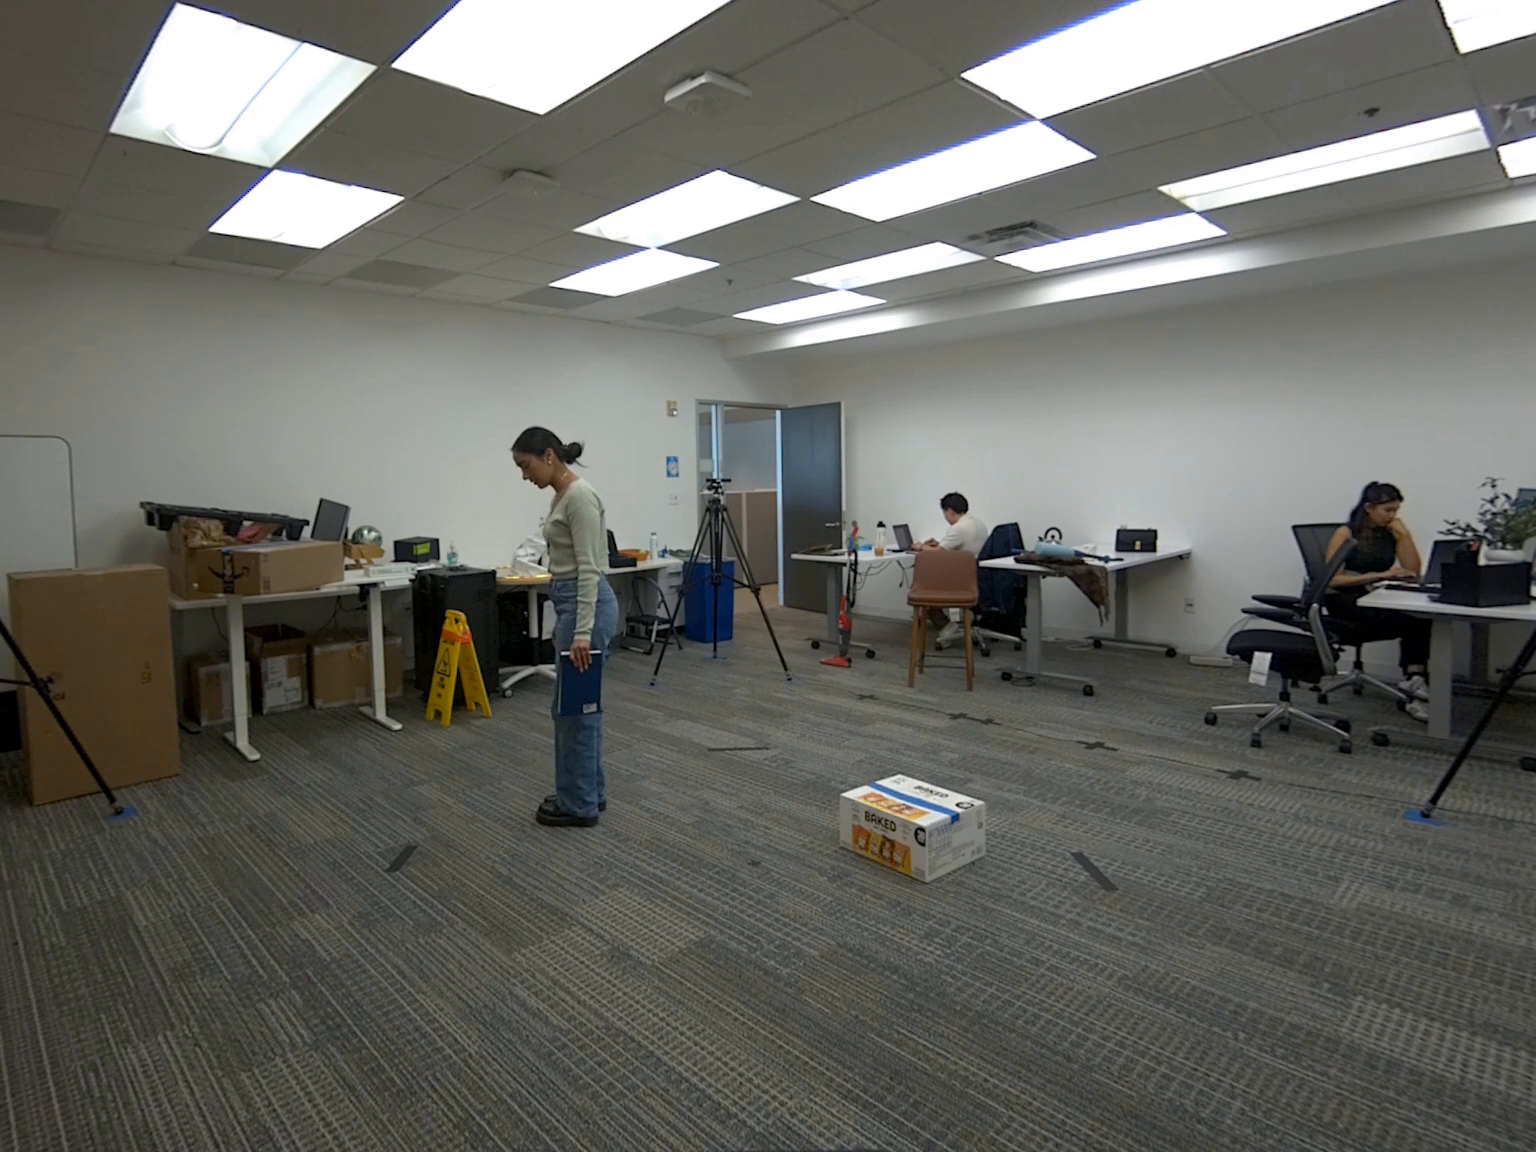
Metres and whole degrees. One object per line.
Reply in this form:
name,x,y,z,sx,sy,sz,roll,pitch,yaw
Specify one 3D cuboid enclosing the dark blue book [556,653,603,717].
dark blue book,-0.743,0.419,3.317,0.160,0.244,0.046,-1,4,-20
